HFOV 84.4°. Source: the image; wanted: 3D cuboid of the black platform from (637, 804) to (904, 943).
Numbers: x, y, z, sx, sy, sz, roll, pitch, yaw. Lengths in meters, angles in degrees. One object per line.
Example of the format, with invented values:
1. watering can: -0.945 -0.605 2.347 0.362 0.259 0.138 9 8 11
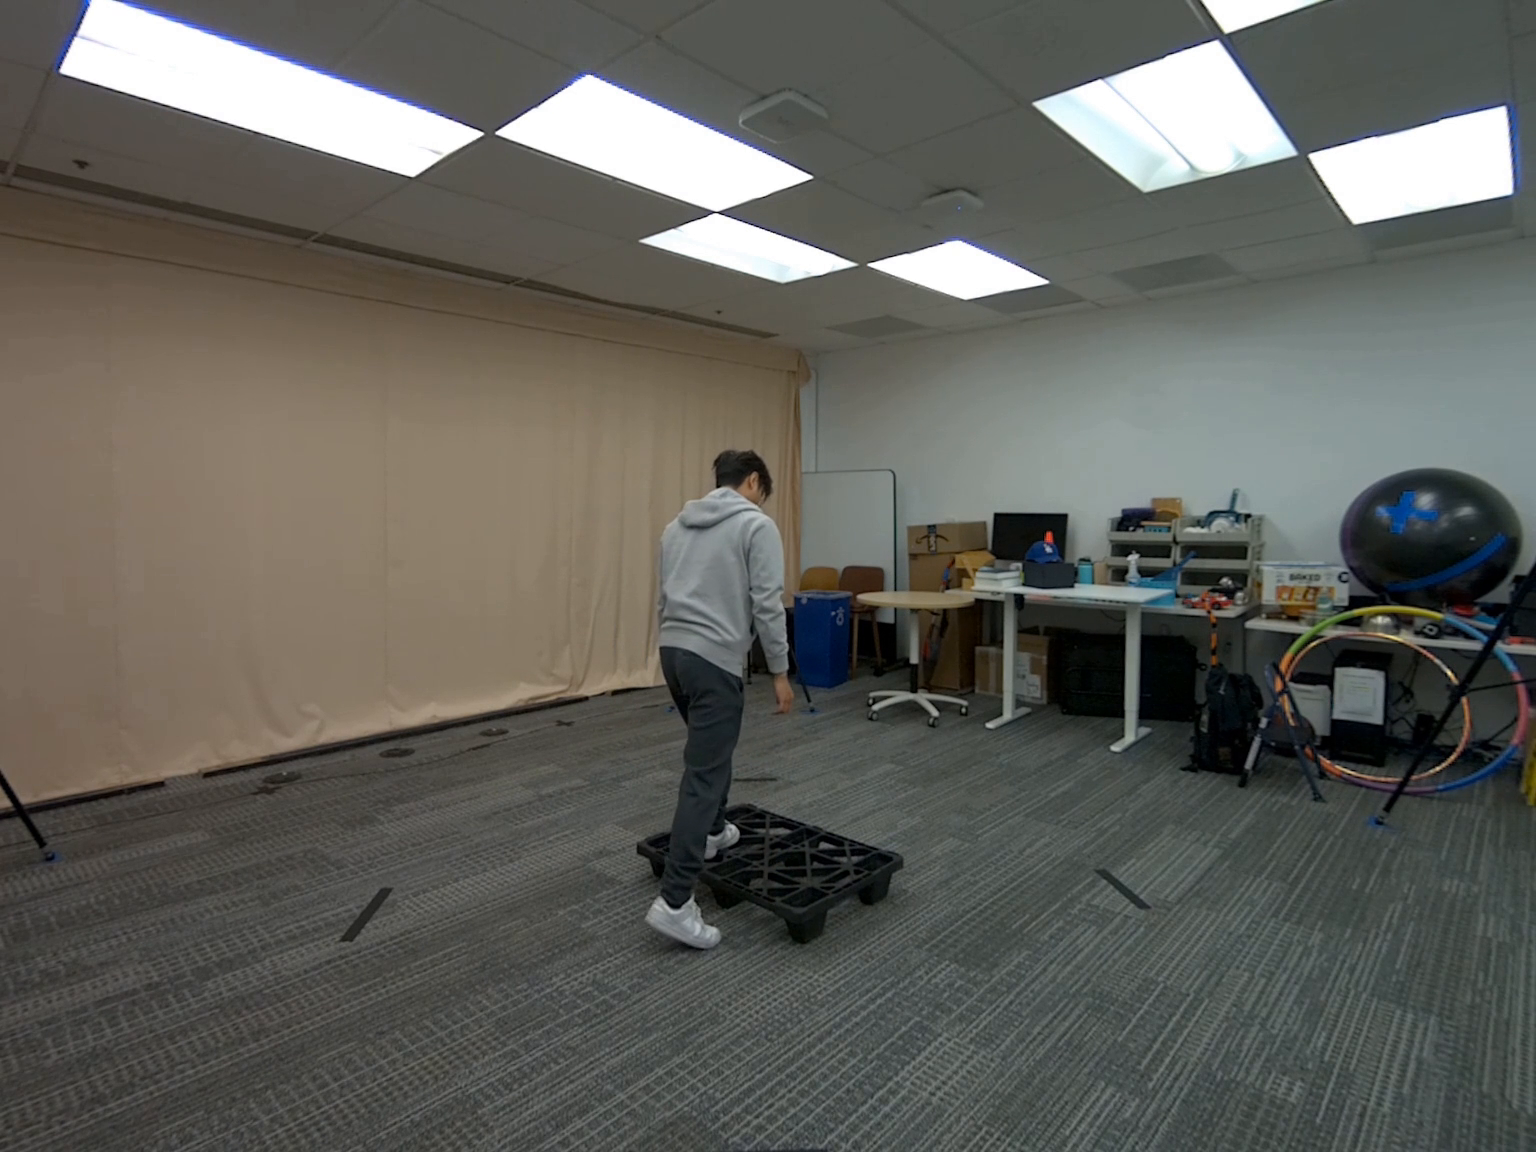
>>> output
1. black platform: 0.000 1.070 3.079 0.832 0.143 0.587 4 7 44
